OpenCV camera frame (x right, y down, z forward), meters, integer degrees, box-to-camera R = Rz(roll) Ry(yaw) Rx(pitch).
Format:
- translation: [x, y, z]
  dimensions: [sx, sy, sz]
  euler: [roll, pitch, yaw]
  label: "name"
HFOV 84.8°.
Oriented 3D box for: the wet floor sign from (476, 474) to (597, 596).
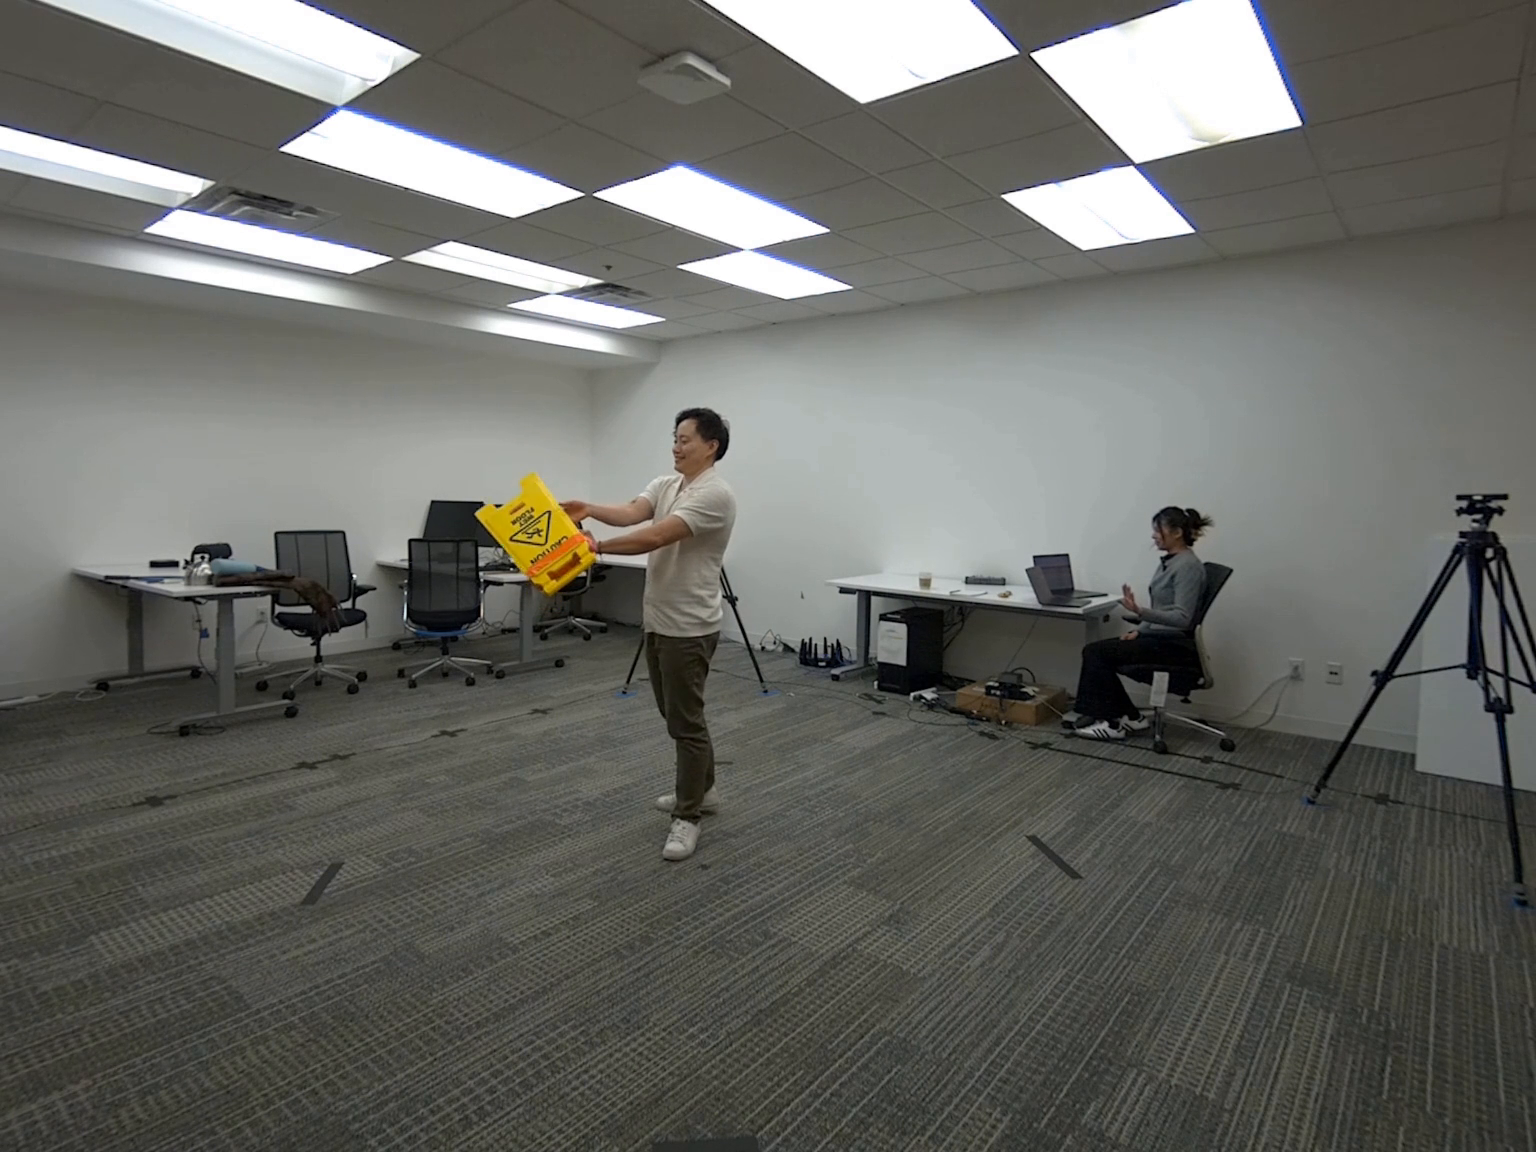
- translation: [-0.798, -0.108, 3.048]
  dimensions: [0.281, 0.279, 0.671]
  euler: [-37, 32, -10]
  label: "wet floor sign"
